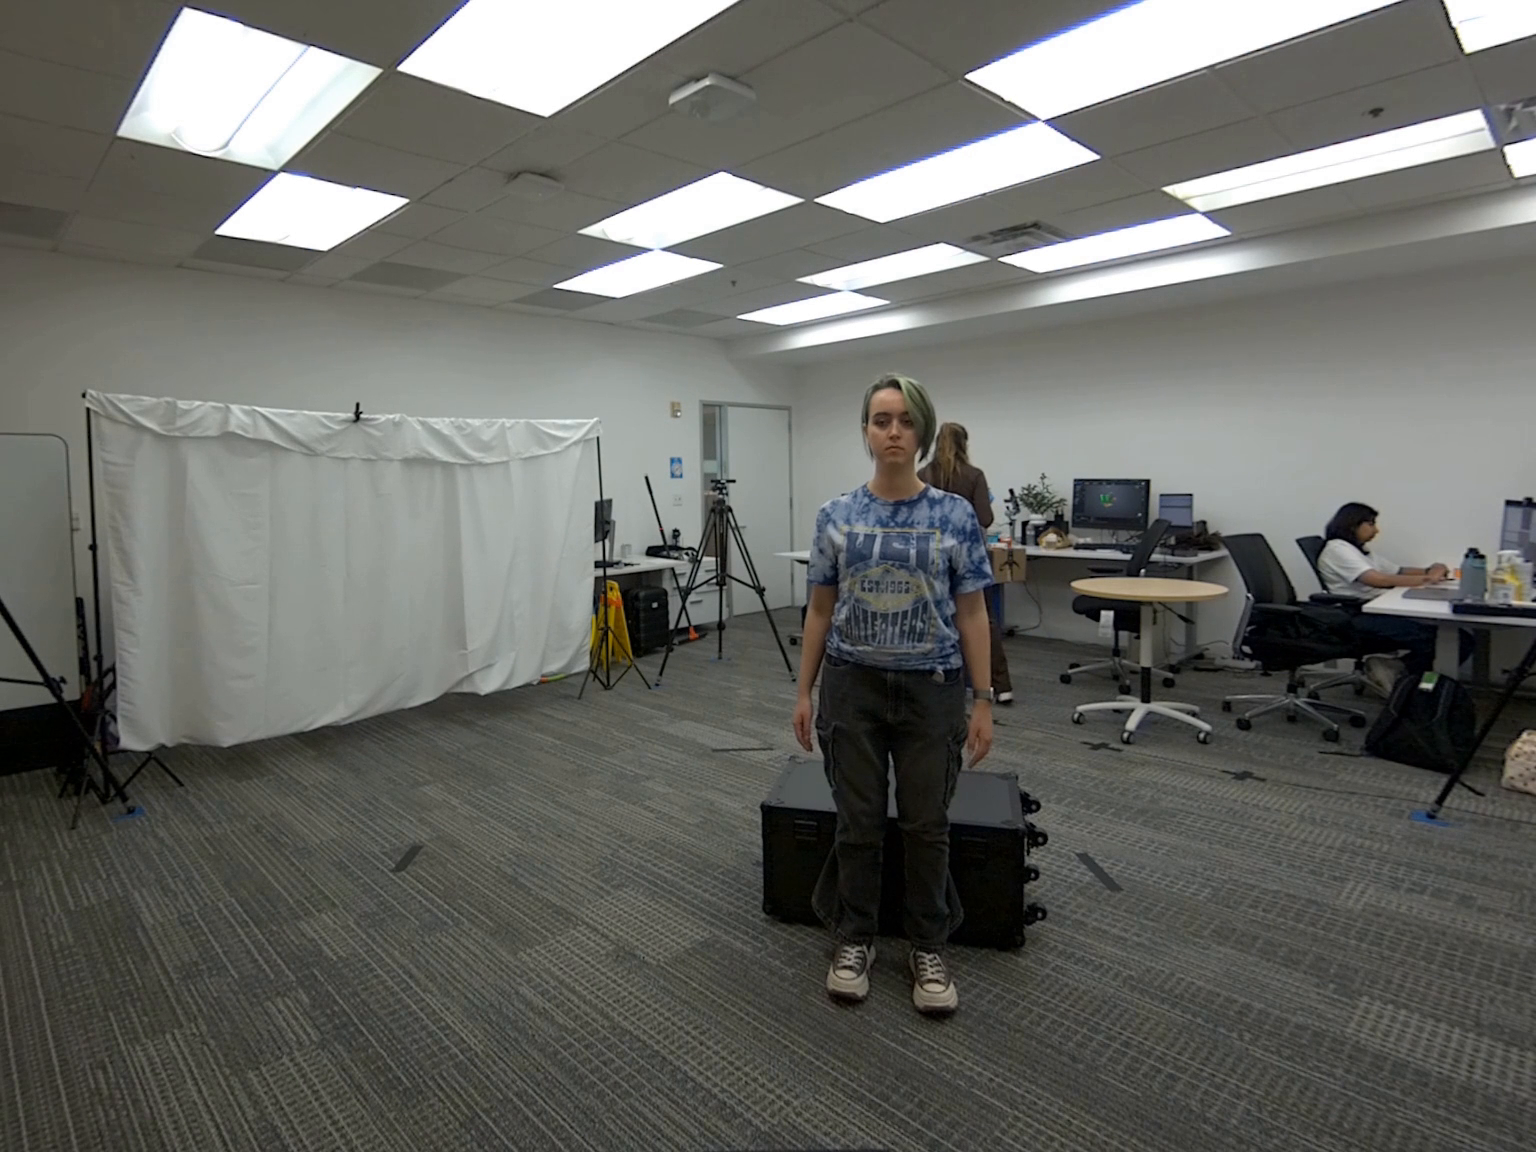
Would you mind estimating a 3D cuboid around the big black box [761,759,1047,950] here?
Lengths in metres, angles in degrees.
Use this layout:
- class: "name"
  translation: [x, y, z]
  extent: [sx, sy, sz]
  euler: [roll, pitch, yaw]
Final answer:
- class: "big black box"
  translation: [0.446, 0.879, 2.798]
  extent: [0.874, 0.395, 0.516]
  euler: [0, 5, 15]
